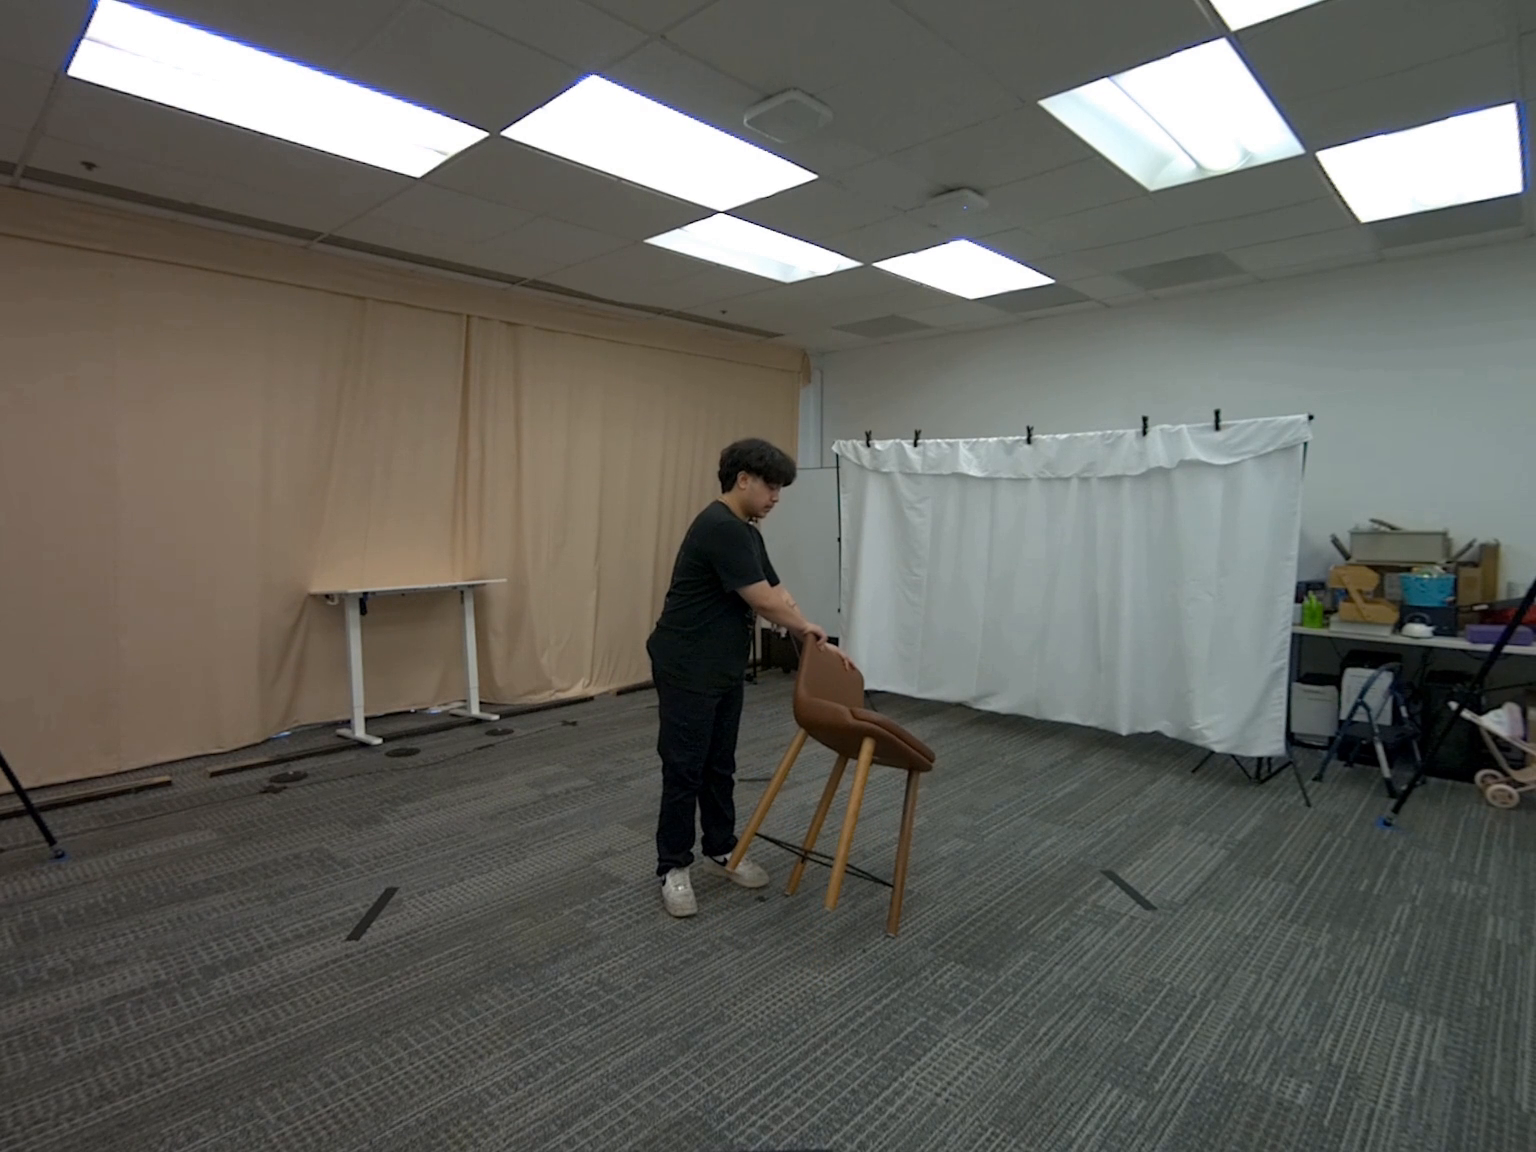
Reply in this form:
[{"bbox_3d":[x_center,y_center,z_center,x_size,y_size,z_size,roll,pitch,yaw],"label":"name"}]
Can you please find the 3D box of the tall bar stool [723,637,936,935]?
[{"bbox_3d":[0.277,0.683,2.900,0.482,0.894,0.440,-2,-29,43],"label":"tall bar stool"}]
